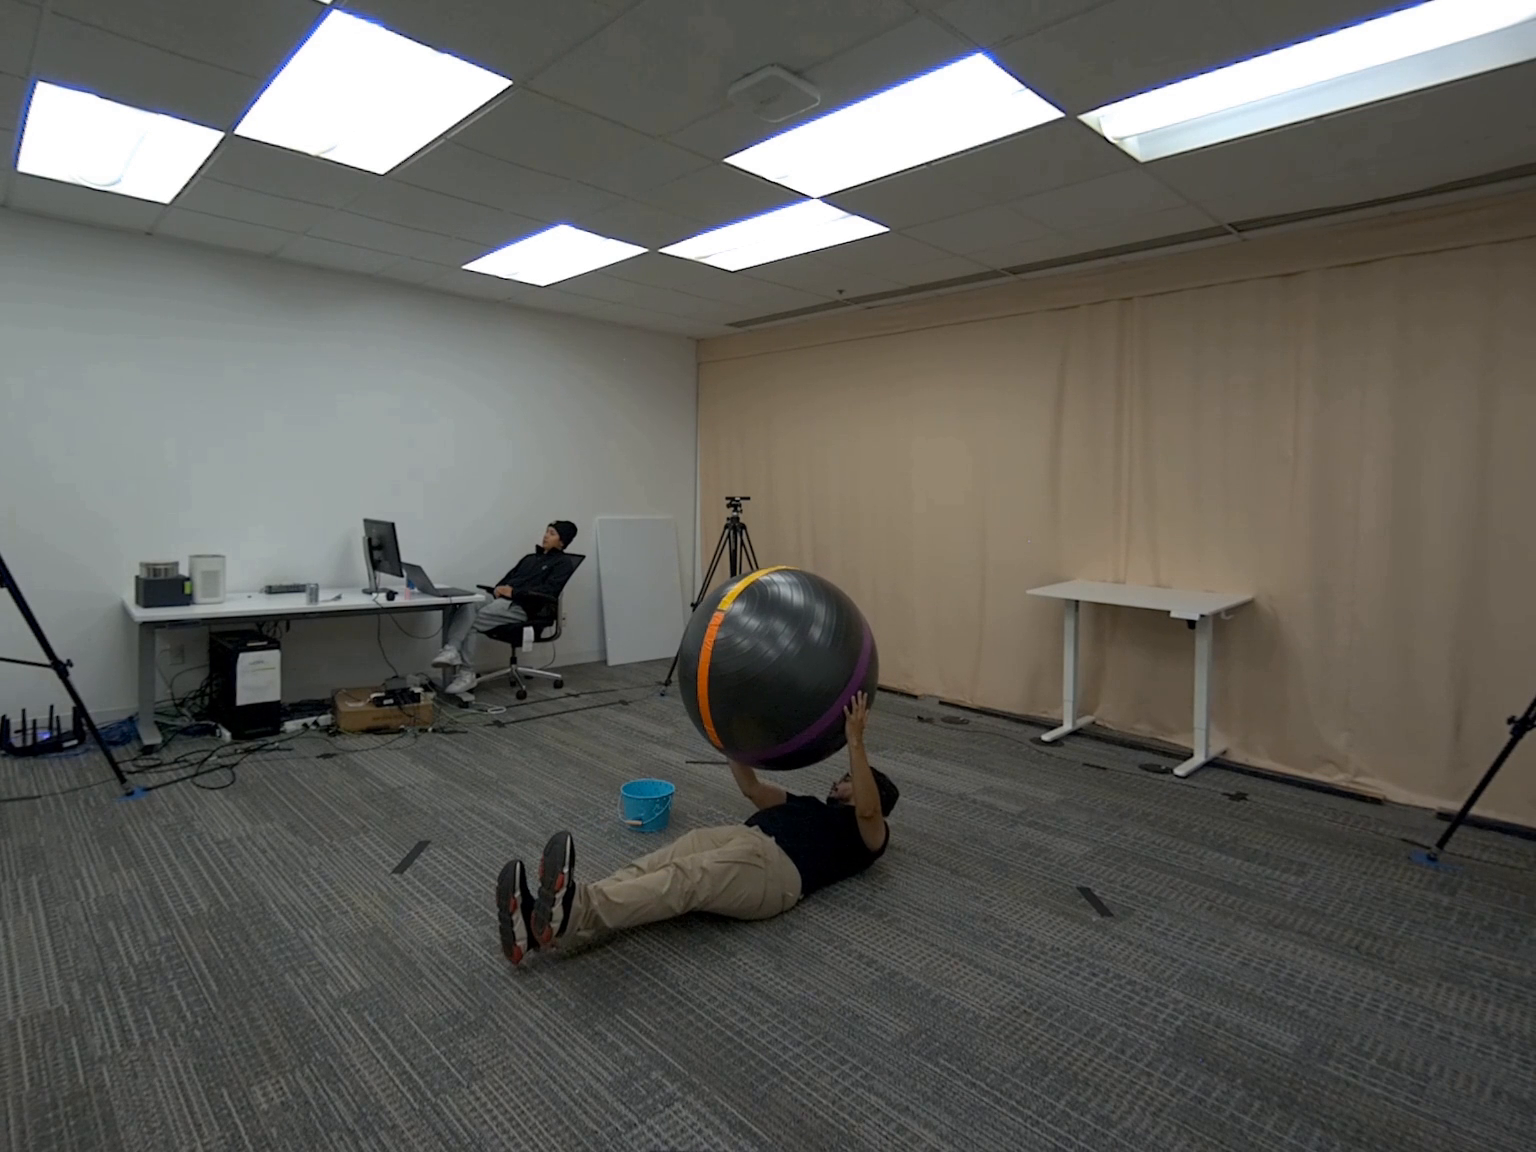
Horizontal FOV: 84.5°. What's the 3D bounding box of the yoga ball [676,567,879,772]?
[{"bbox_3d":[0.033,0.352,3.178,0.757,0.755,0.761,1,5,-1],"label":"yoga ball"}]
